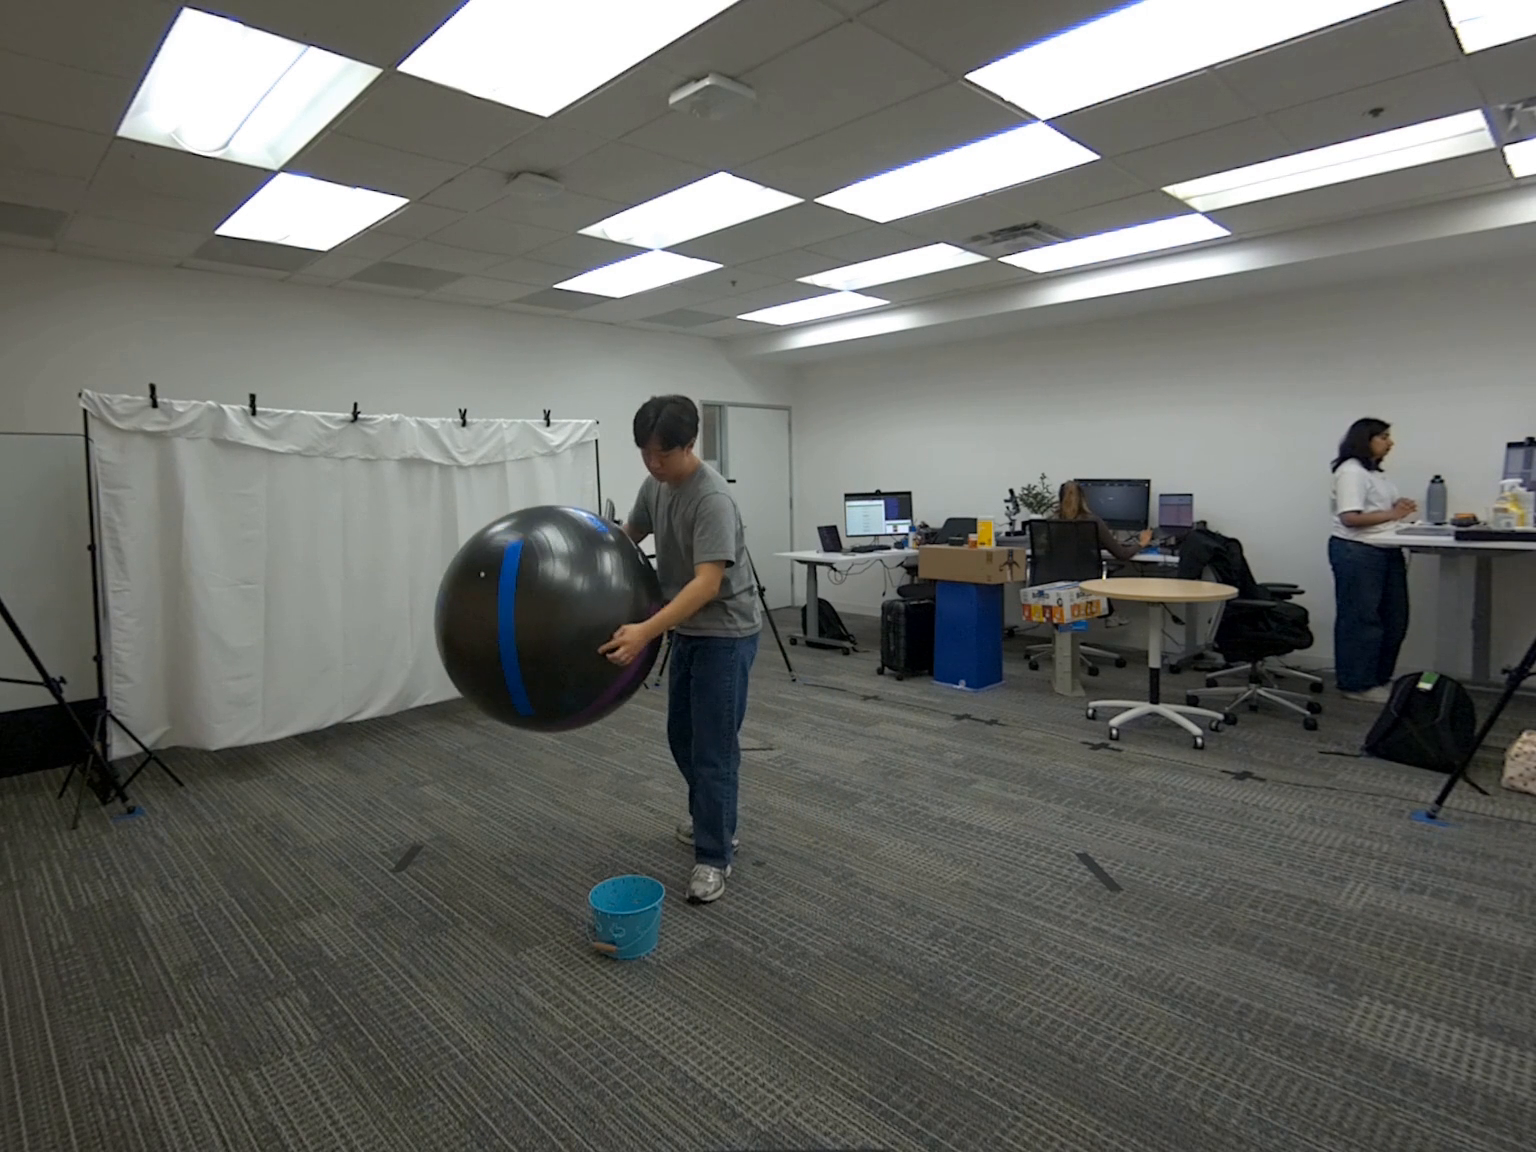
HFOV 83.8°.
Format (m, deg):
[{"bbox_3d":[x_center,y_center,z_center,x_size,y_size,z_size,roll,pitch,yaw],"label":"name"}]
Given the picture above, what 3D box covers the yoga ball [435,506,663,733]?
[{"bbox_3d":[-0.737,0.149,2.879,0.757,0.755,0.762,-1,5,-2],"label":"yoga ball"}]
